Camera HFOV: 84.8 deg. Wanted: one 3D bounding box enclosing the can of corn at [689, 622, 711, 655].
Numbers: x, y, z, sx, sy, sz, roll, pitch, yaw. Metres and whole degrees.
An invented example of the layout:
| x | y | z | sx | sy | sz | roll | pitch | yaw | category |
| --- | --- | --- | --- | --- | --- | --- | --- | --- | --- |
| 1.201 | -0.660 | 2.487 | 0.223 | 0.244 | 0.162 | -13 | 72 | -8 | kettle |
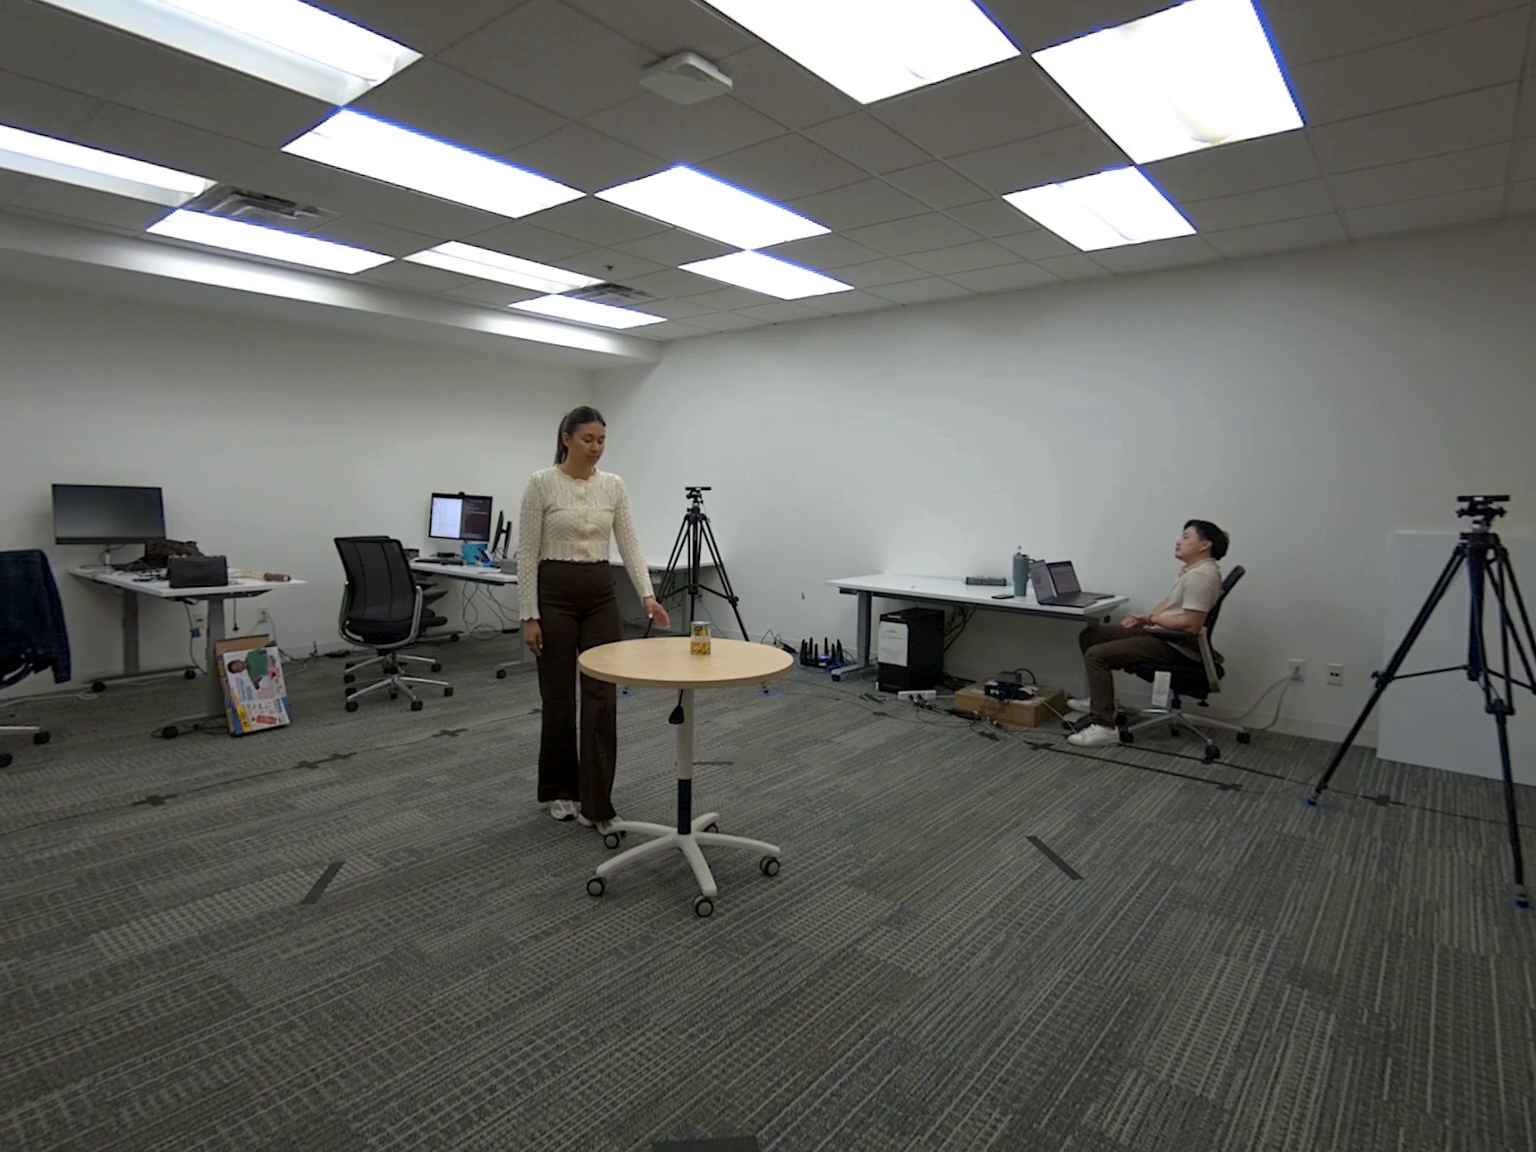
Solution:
| x | y | z | sx | sy | sz | roll | pitch | yaw | category |
| --- | --- | --- | --- | --- | --- | --- | --- | --- | --- |
| -0.259 | 0.225 | 3.114 | 0.074 | 0.111 | 0.074 | 2 | 2 | -2 | can of corn |
